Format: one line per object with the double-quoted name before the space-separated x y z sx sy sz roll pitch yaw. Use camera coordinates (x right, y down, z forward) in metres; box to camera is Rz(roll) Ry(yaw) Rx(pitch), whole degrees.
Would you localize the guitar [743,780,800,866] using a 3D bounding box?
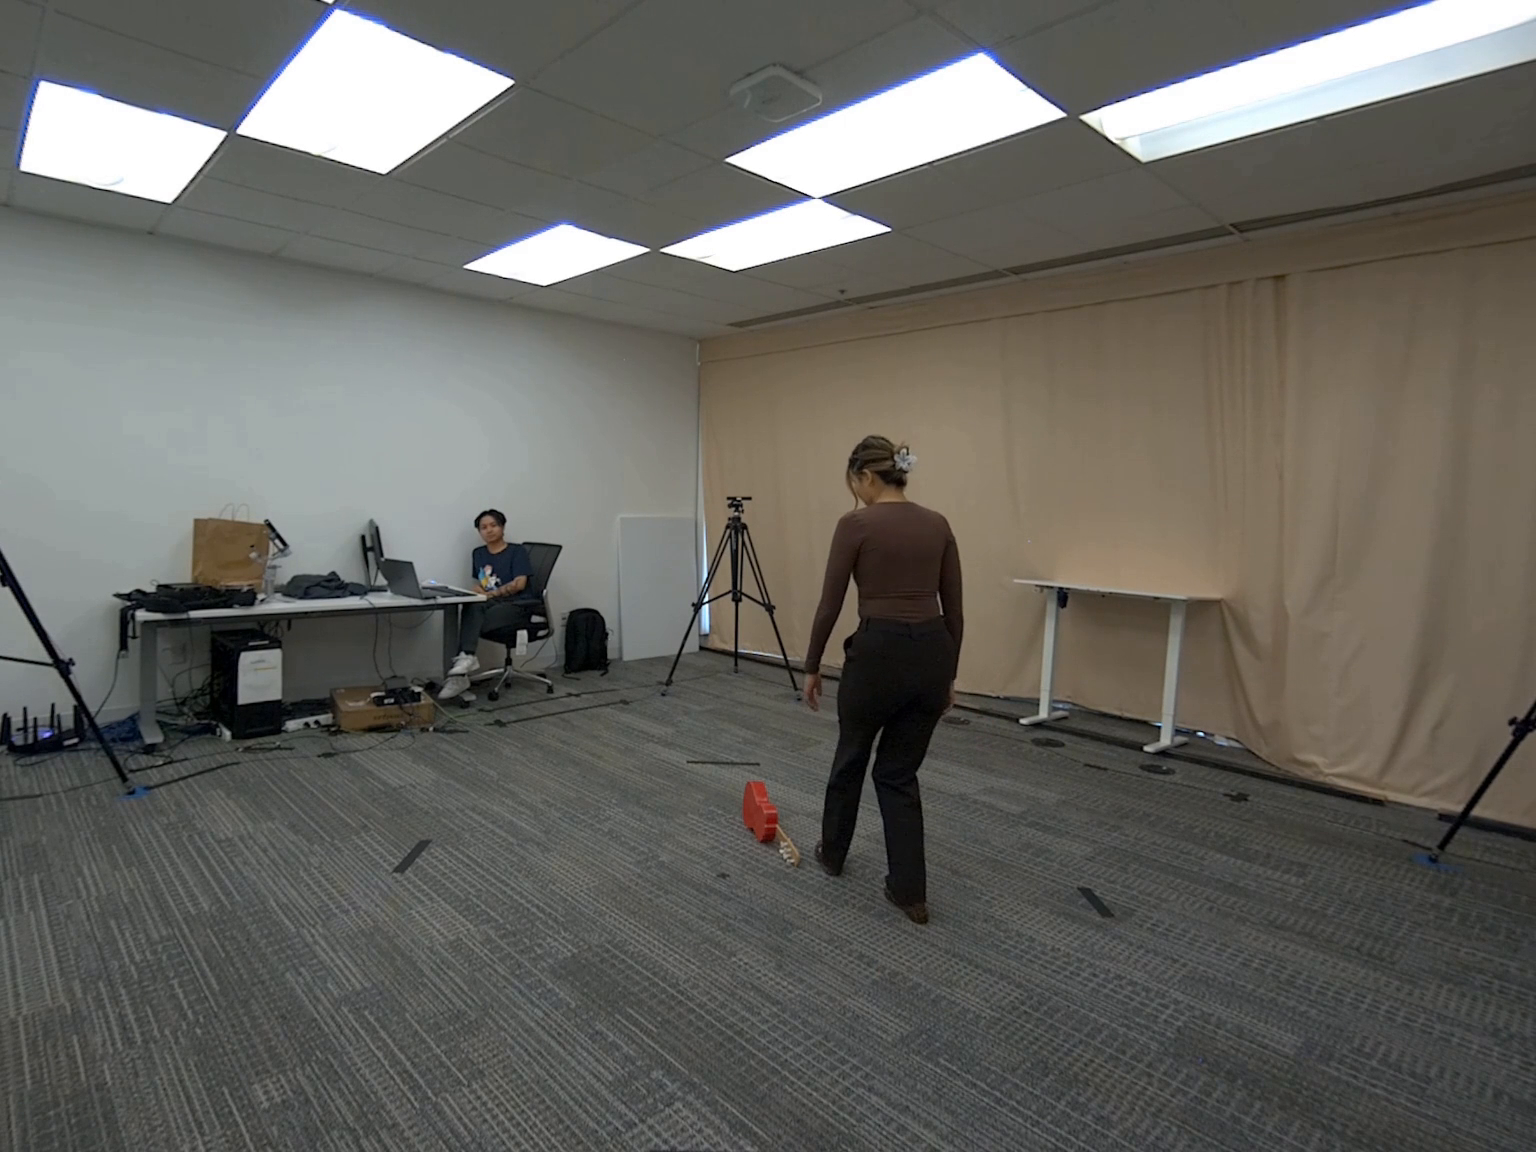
"guitar" 0.008 0.983 3.407 0.069 0.193 0.506 6 3 -20
